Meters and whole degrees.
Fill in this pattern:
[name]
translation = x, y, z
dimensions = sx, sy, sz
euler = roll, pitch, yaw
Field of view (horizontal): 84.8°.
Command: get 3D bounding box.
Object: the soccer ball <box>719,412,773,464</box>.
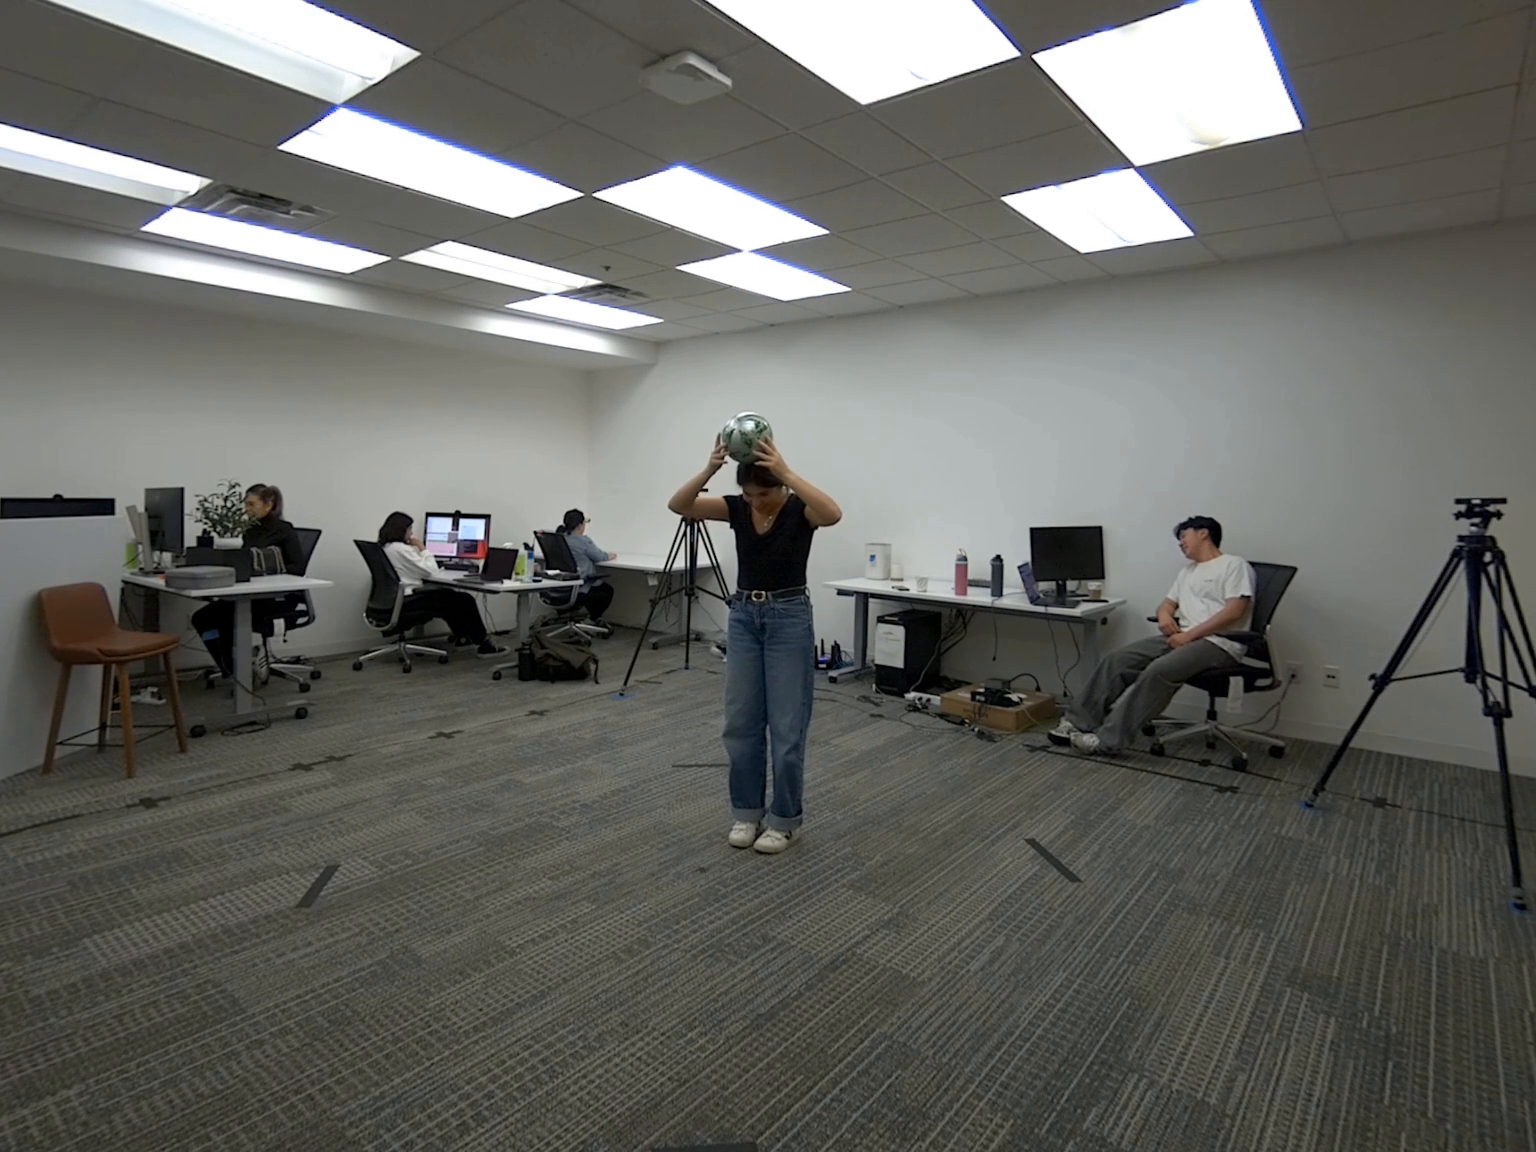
[soccer ball]
translation = -0.072, -0.509, 3.104
dimensions = 0.187, 0.187, 0.188
euler = 1, 4, -2
